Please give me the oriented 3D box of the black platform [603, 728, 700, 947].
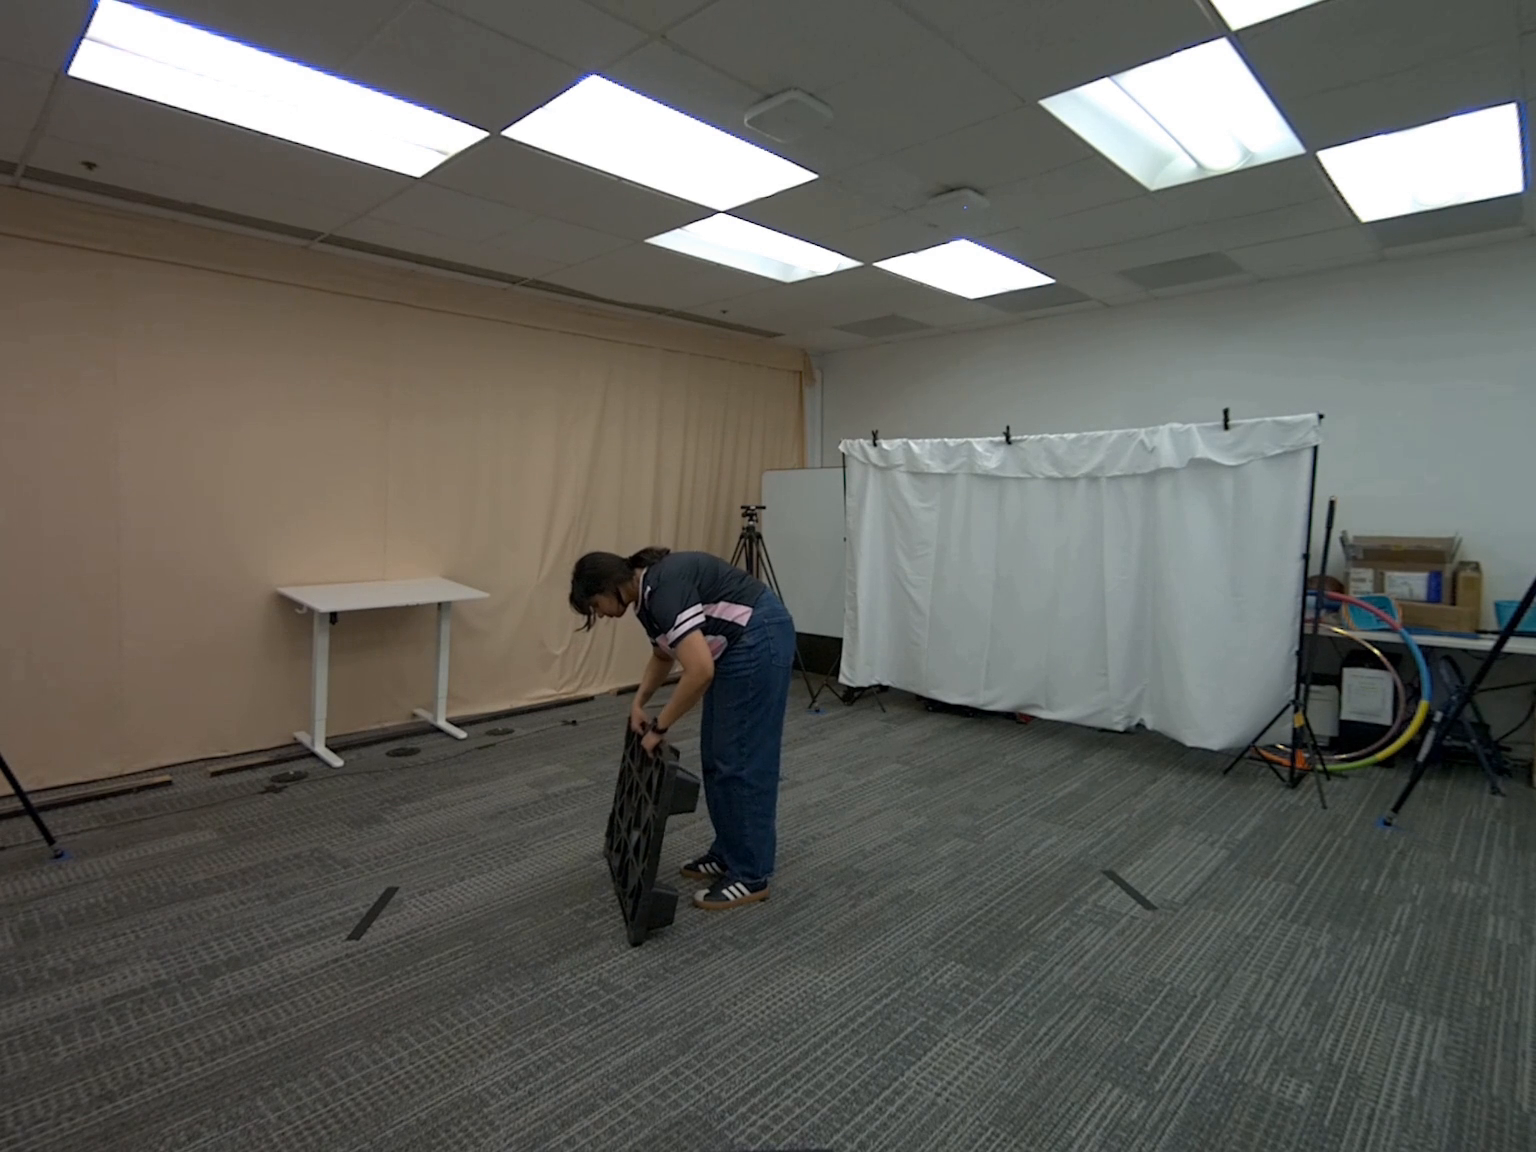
[{"bbox_3d":[-0.442,0.856,3.045,0.141,0.605,0.820,10,1,-17],"label":"black platform"}]
